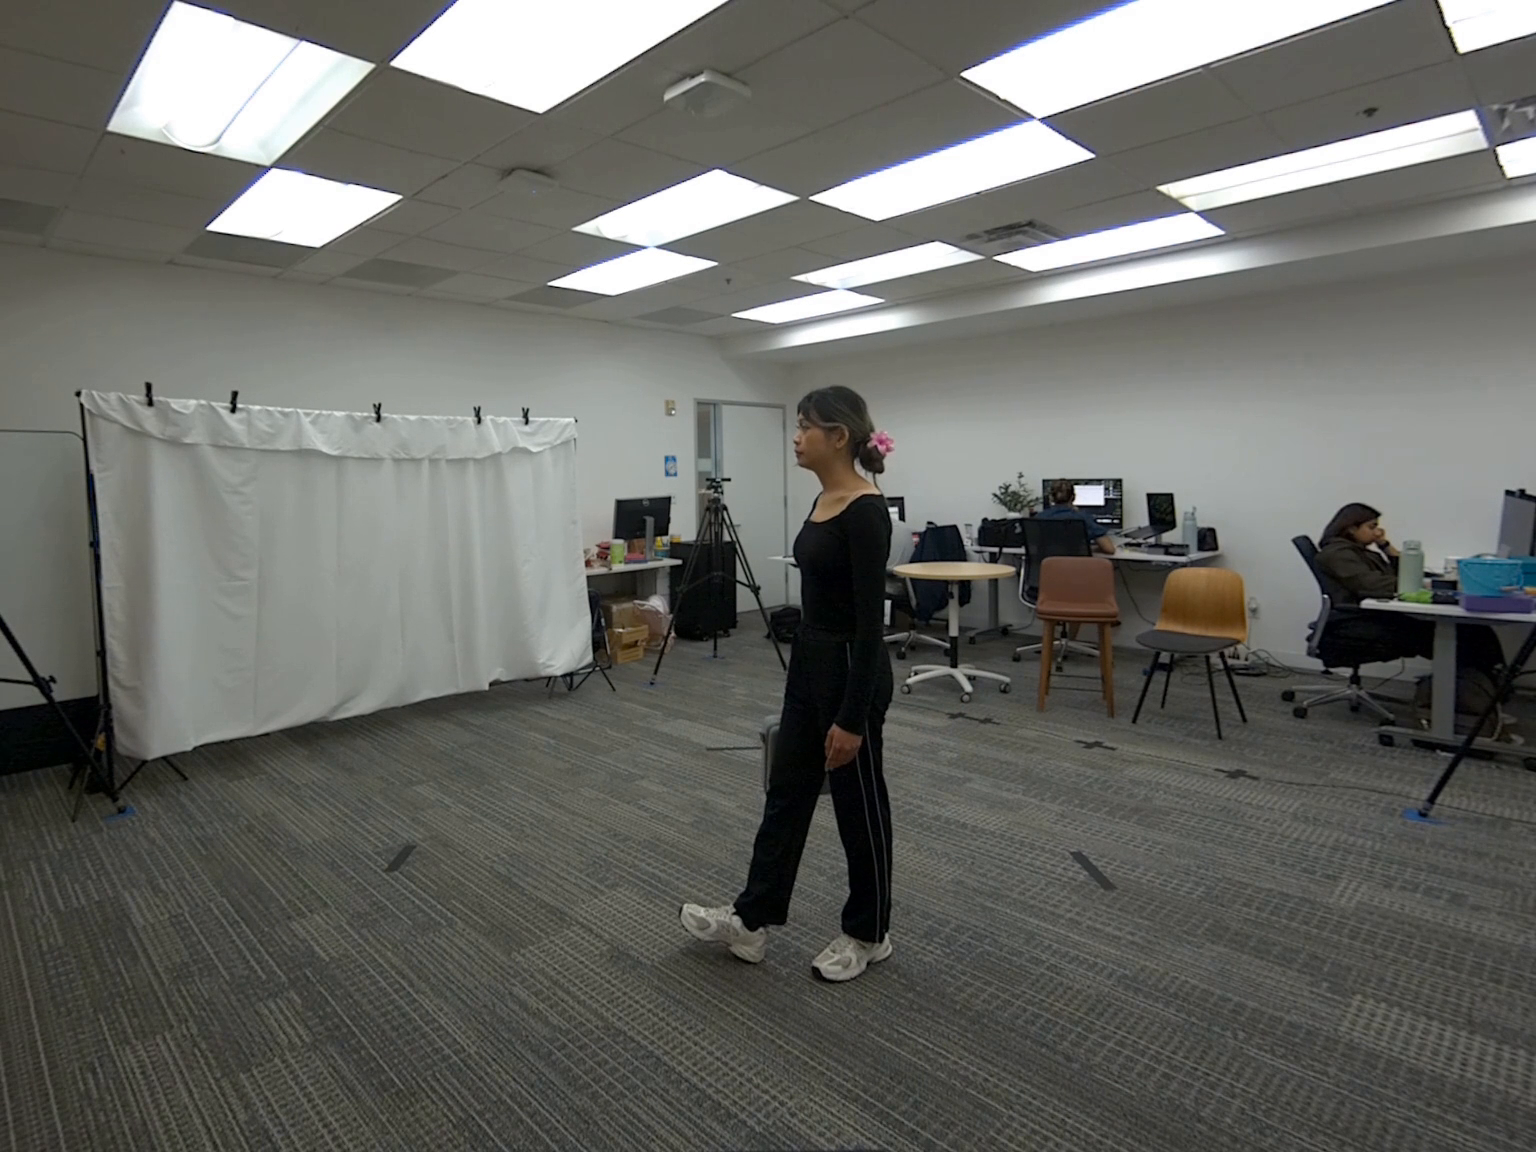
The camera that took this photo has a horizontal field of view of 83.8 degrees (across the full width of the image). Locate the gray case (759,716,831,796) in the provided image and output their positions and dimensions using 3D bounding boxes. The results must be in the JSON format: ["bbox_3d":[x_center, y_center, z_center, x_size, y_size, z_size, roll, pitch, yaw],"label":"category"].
[{"bbox_3d":[0.118,0.552,2.653,0.253,0.258,0.107,-2,11,-14],"label":"gray case"}]
